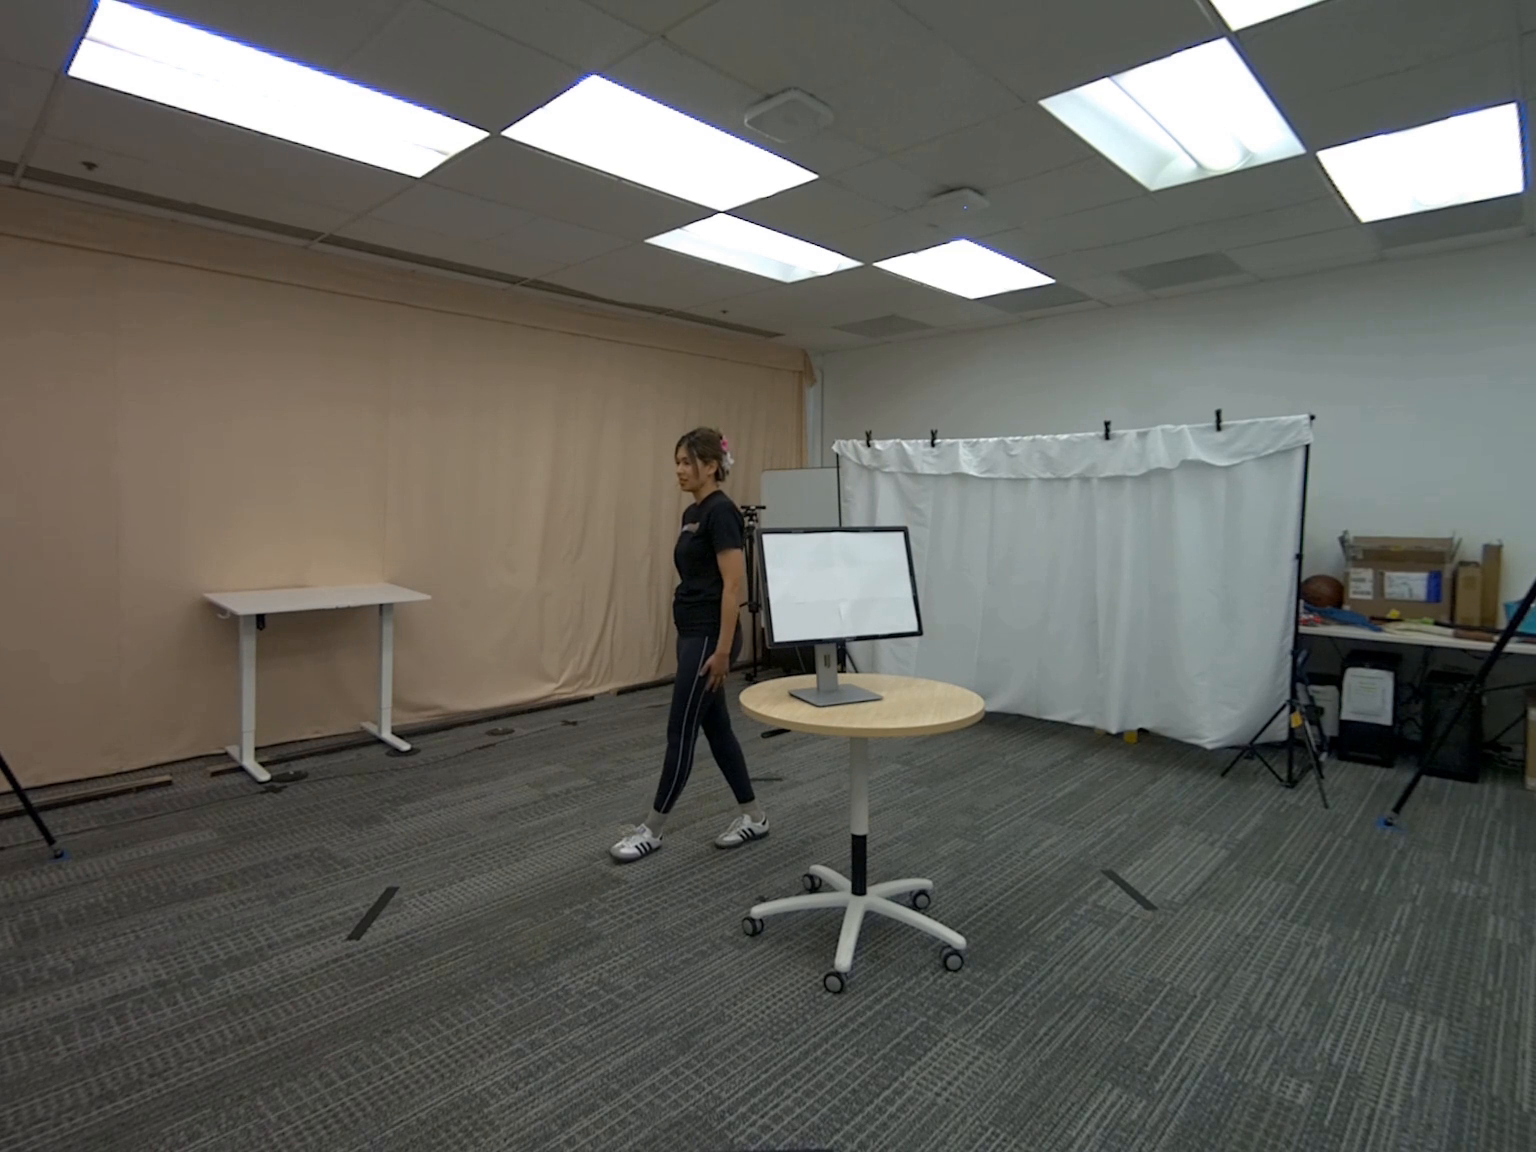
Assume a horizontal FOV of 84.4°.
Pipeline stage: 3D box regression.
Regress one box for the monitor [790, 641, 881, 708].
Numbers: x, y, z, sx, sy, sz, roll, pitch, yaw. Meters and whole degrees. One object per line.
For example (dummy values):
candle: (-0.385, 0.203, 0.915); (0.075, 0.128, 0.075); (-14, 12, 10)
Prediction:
monitor: (0.212, 0.123, 2.677); (0.525, 0.522, 0.192); (-2, 3, -27)
